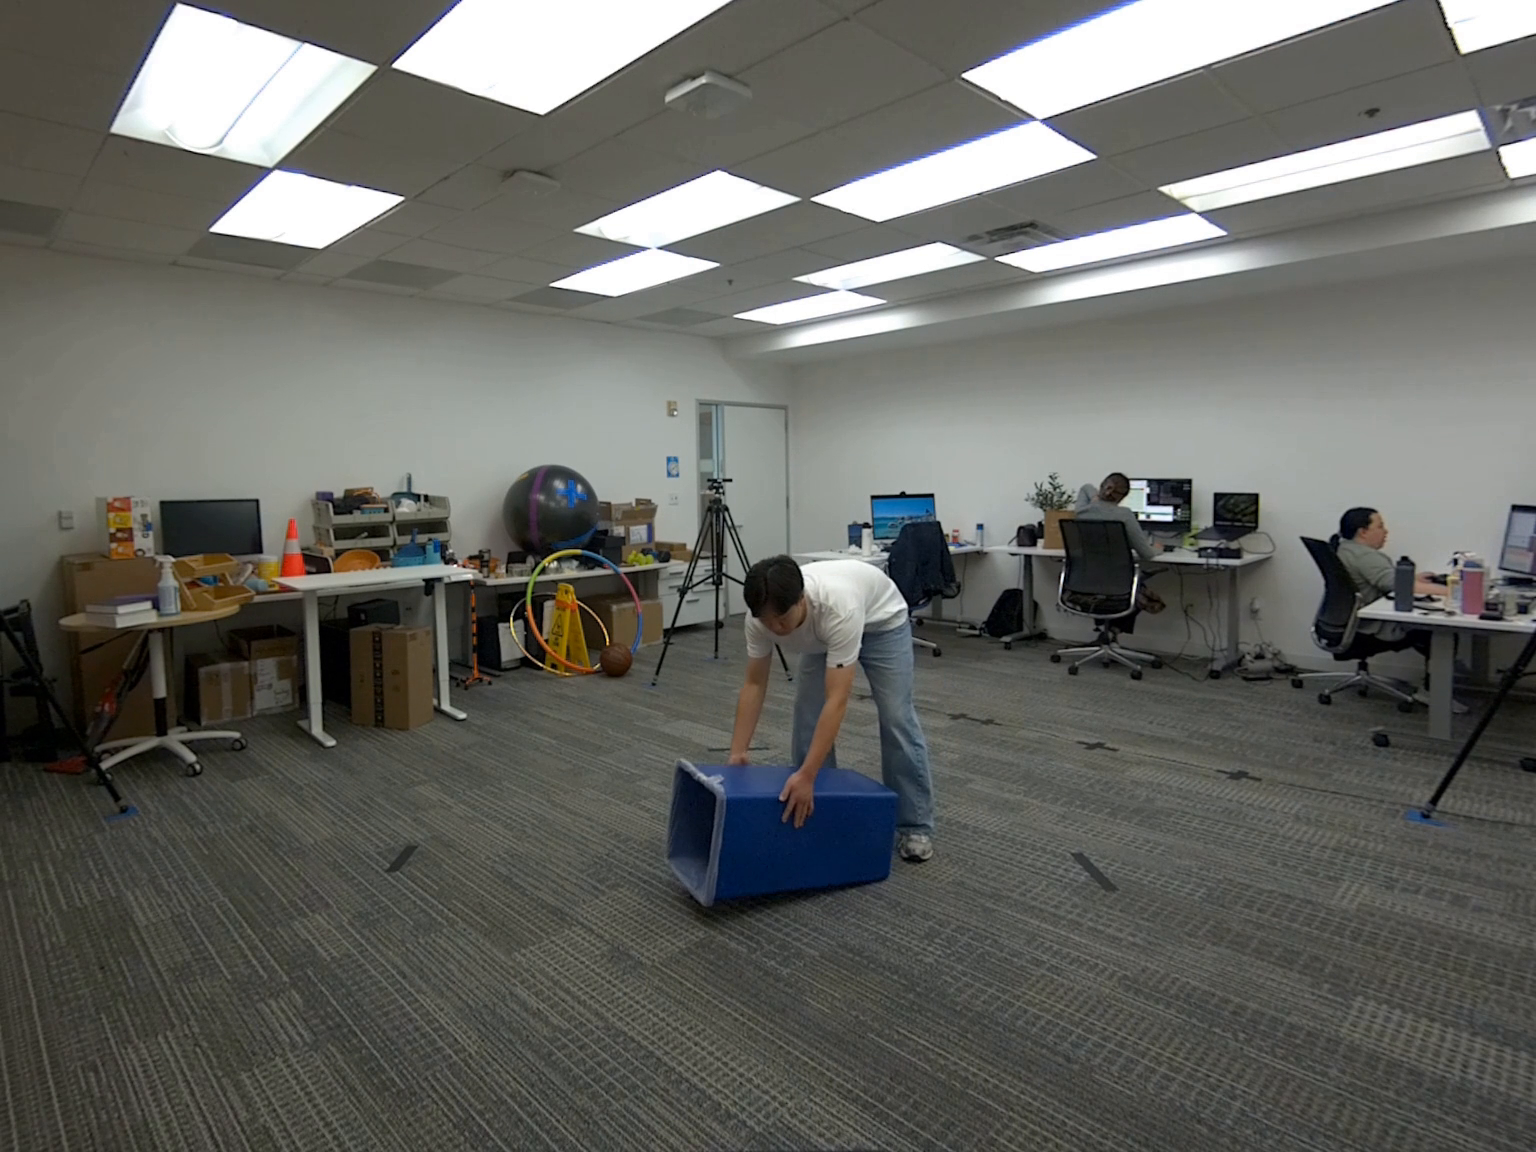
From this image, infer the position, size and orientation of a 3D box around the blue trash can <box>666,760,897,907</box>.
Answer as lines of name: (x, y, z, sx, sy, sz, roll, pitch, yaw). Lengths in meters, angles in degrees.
blue trash can: (0.060, 0.860, 2.936, 0.695, 0.374, 0.387, 7, 0, -27)
